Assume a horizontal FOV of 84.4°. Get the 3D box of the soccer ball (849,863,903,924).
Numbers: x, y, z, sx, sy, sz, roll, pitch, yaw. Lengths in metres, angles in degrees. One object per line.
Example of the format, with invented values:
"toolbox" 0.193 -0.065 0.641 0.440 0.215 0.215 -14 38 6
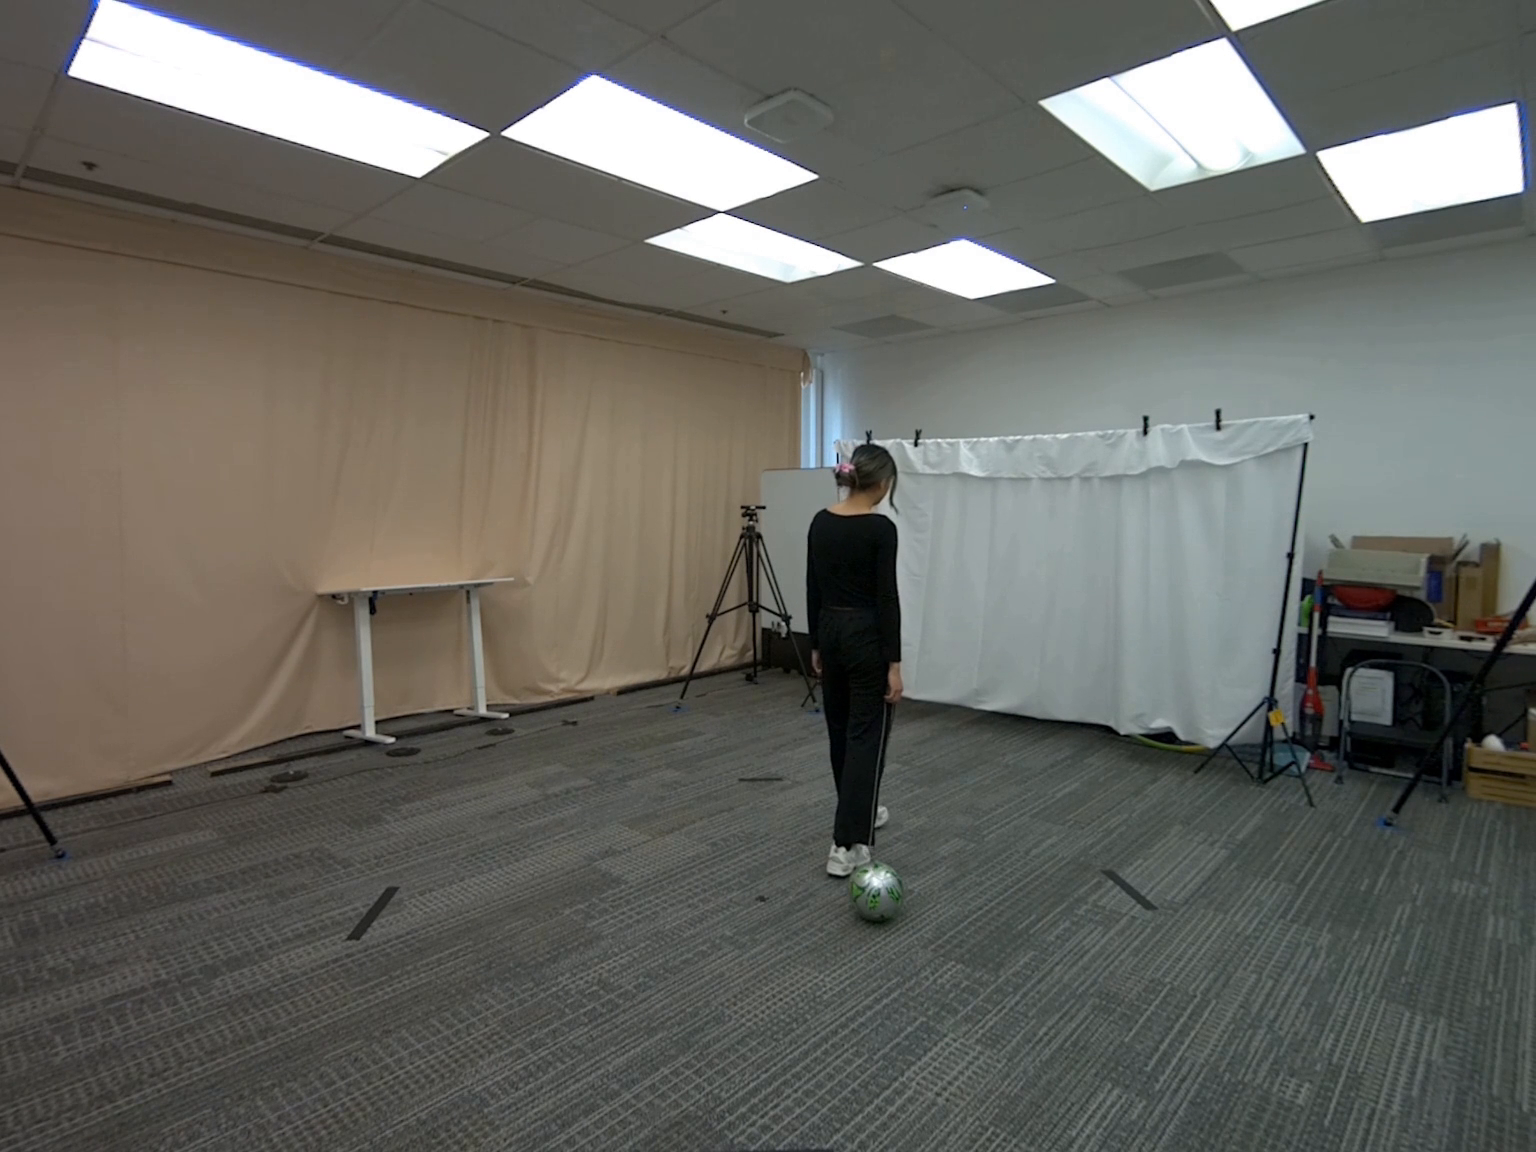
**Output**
"soccer ball" 0.363 1.053 2.837 0.187 0.187 0.188 0 4 -2
